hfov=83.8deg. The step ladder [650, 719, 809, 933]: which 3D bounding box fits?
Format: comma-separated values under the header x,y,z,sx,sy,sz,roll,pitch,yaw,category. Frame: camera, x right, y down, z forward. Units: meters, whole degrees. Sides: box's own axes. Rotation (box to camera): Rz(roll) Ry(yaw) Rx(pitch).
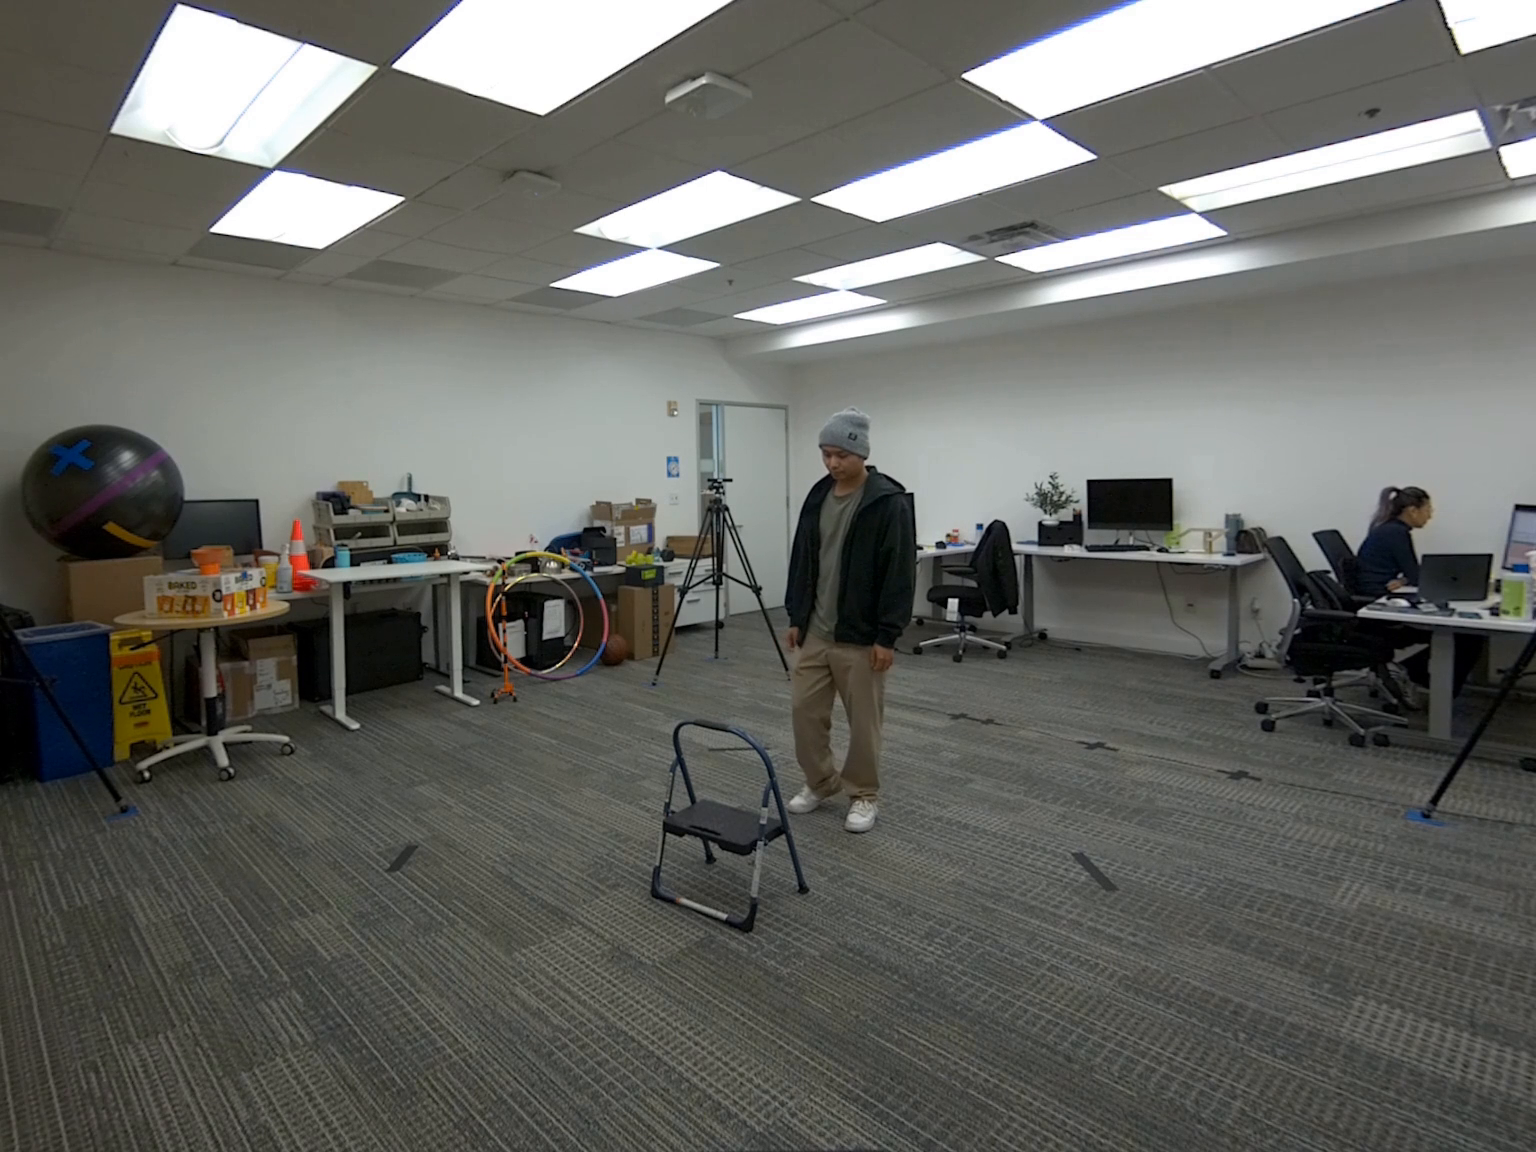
x,y,z,sx,sy,sz,roll,pitch,yaw,category
-0.135,0.770,2.867,0.443,0.604,0.340,2,5,35,step ladder
